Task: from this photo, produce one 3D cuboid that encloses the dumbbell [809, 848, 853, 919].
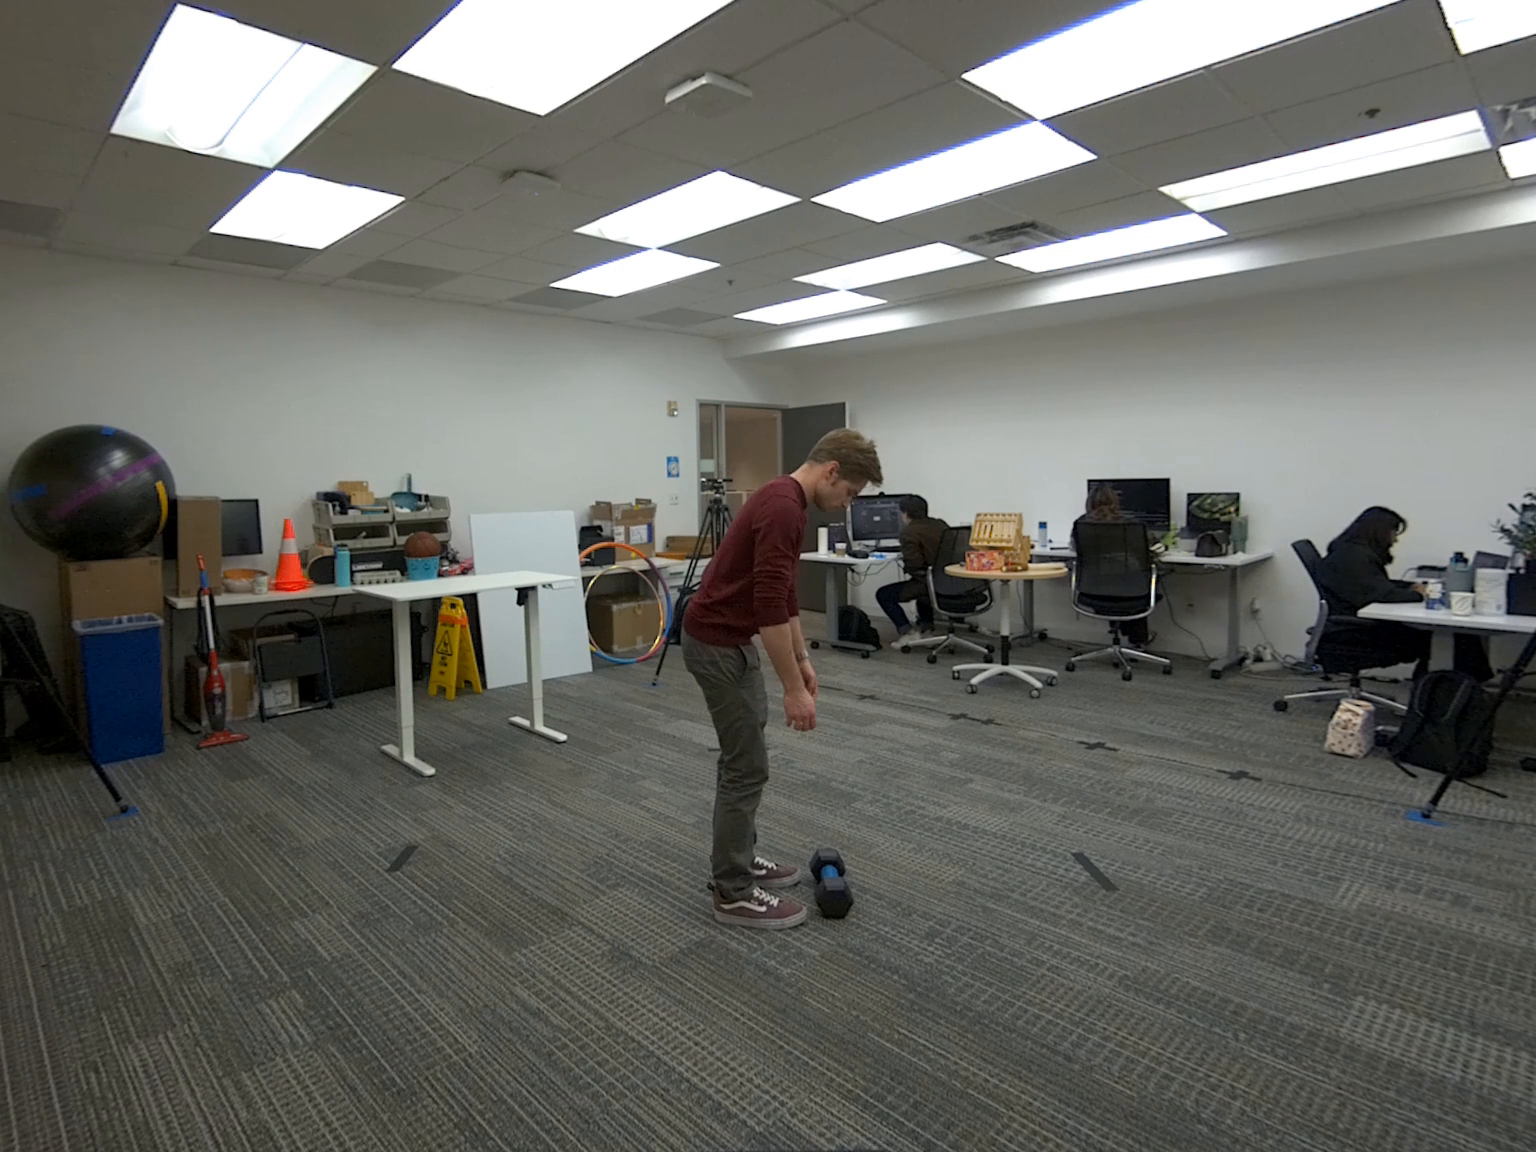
[{"bbox_3d":[0.212,1.021,2.836,0.109,0.122,0.295,-27,6,3],"label":"dumbbell"}]
